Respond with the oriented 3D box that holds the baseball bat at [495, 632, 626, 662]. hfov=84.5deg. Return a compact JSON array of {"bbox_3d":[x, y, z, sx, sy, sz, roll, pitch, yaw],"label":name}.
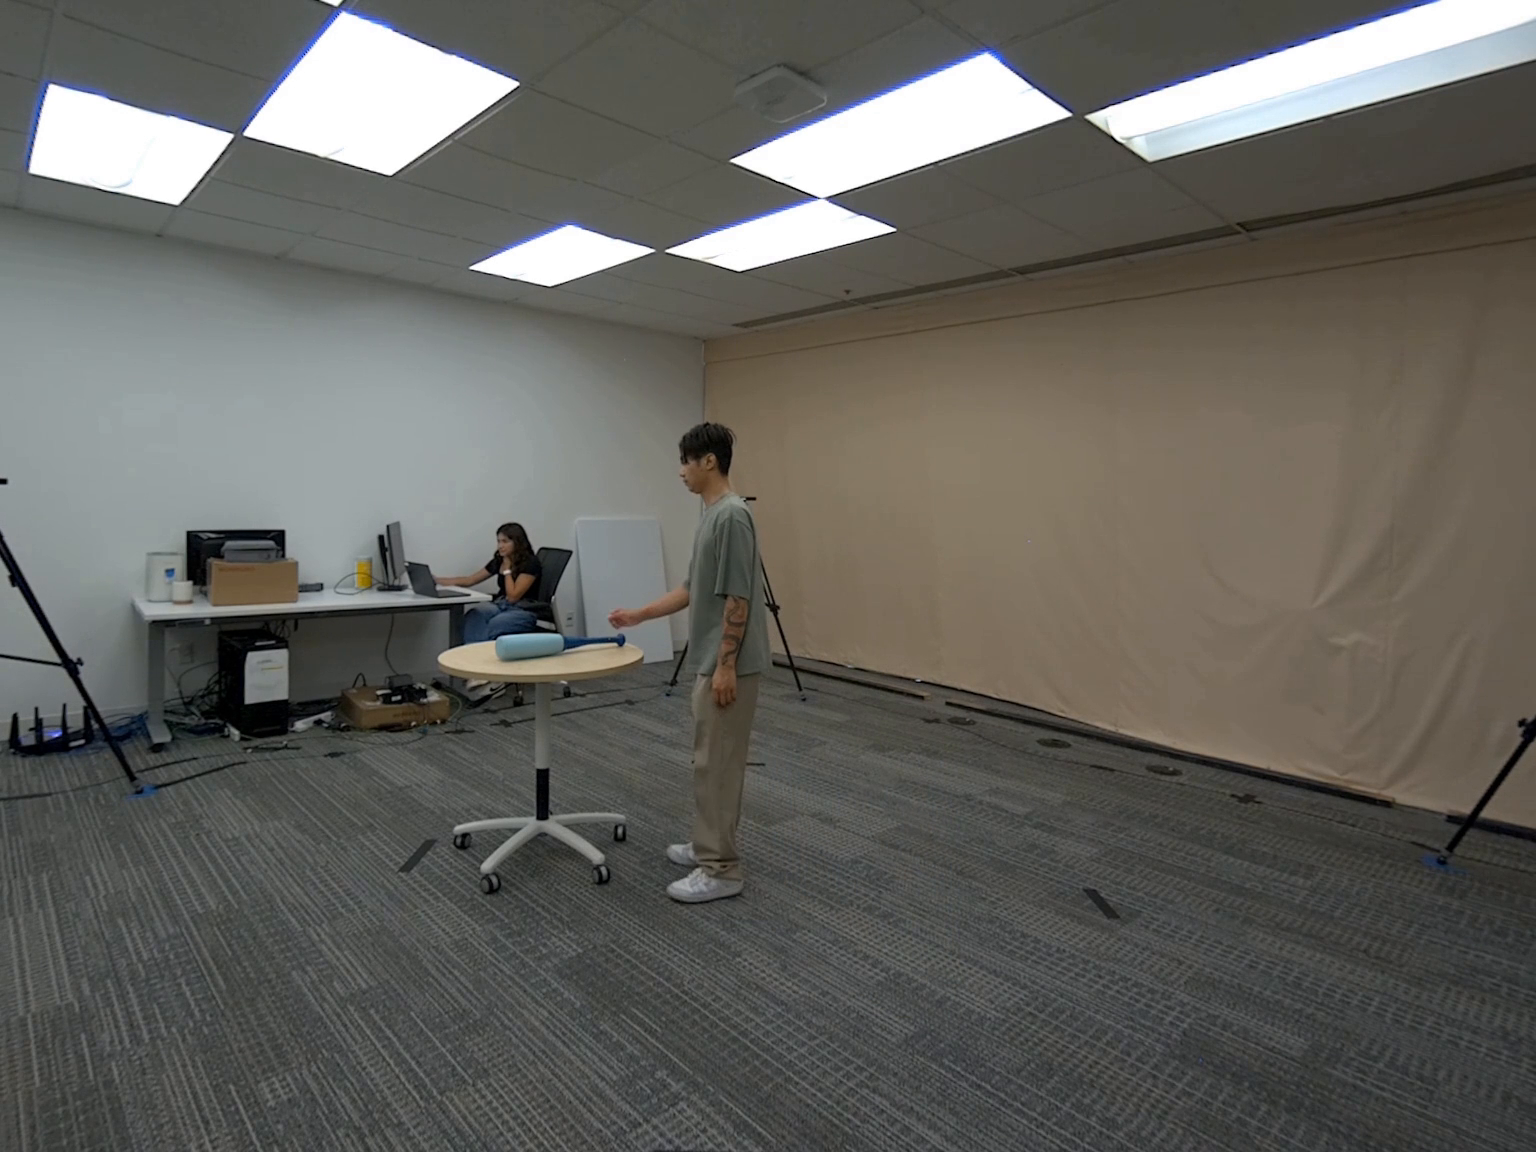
[{"bbox_3d":[-0.784,0.258,3.228,0.530,0.089,0.091,-1,5,-42],"label":"baseball bat"}]
